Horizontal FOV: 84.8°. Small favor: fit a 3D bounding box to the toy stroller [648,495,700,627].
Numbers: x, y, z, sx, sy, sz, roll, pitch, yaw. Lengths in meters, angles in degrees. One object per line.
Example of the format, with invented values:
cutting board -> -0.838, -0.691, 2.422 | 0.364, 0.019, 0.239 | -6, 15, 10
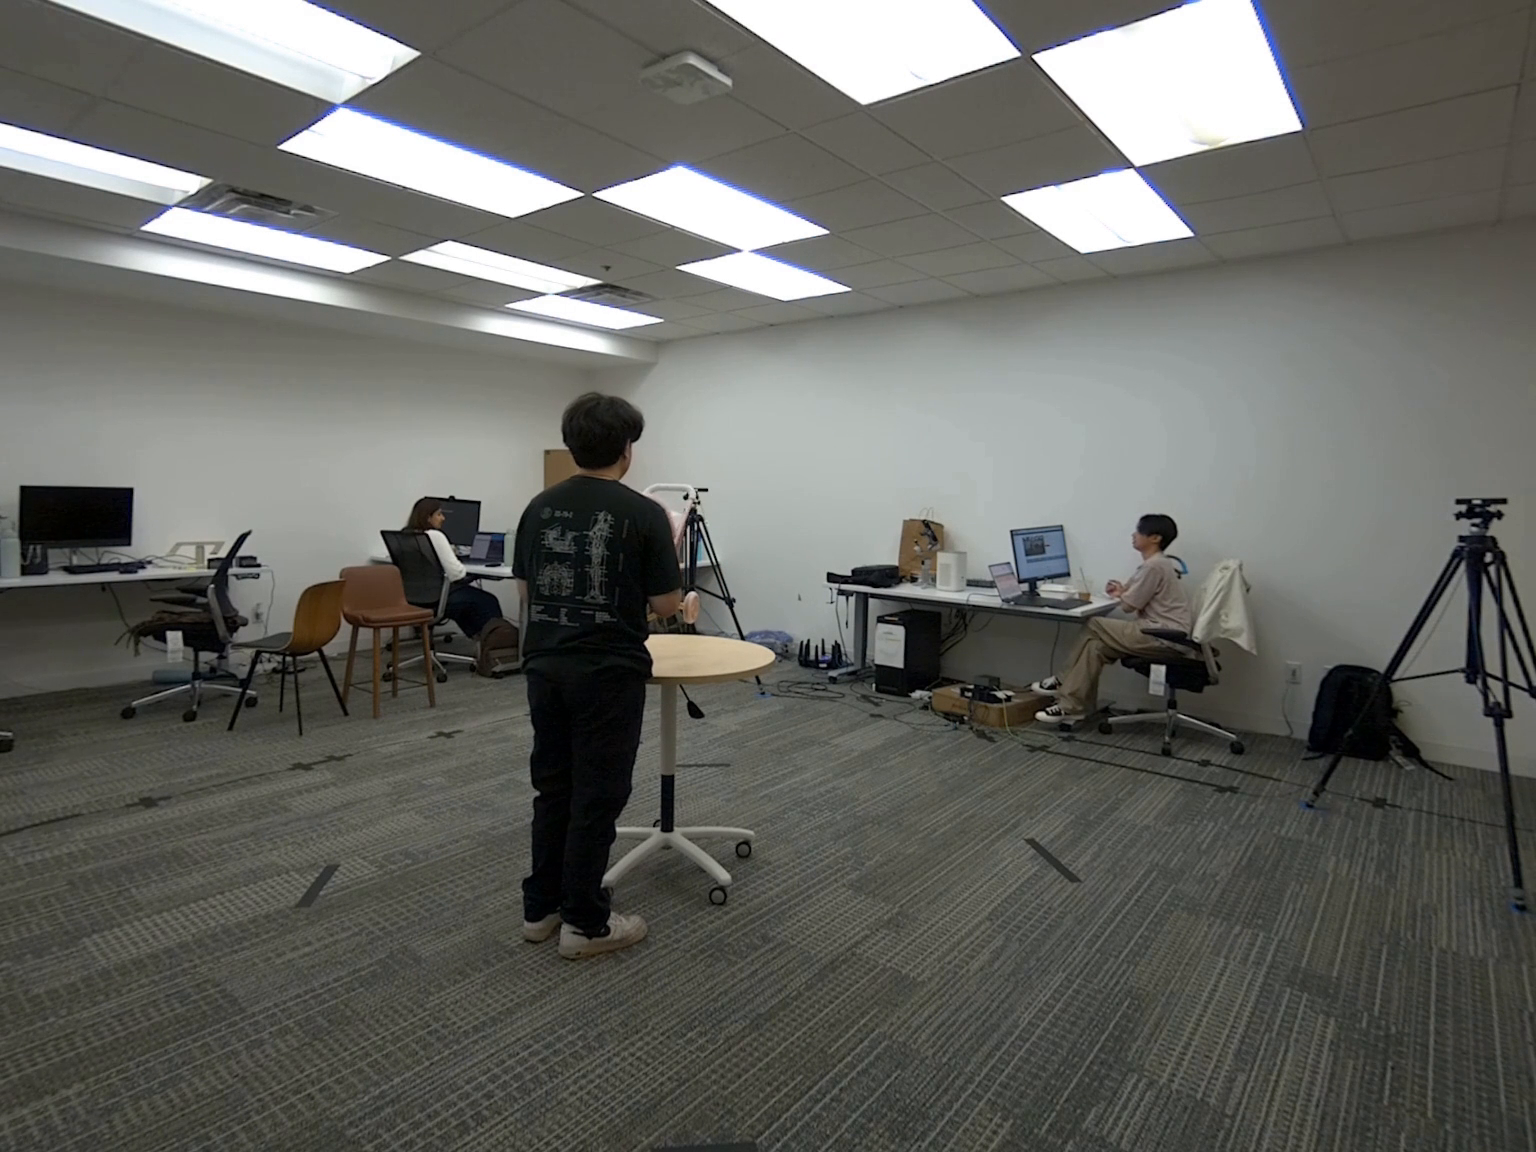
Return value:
toy stroller -> -0.427, -0.048, 2.899 | 0.289, 0.533, 0.334 | 6, 5, 24
